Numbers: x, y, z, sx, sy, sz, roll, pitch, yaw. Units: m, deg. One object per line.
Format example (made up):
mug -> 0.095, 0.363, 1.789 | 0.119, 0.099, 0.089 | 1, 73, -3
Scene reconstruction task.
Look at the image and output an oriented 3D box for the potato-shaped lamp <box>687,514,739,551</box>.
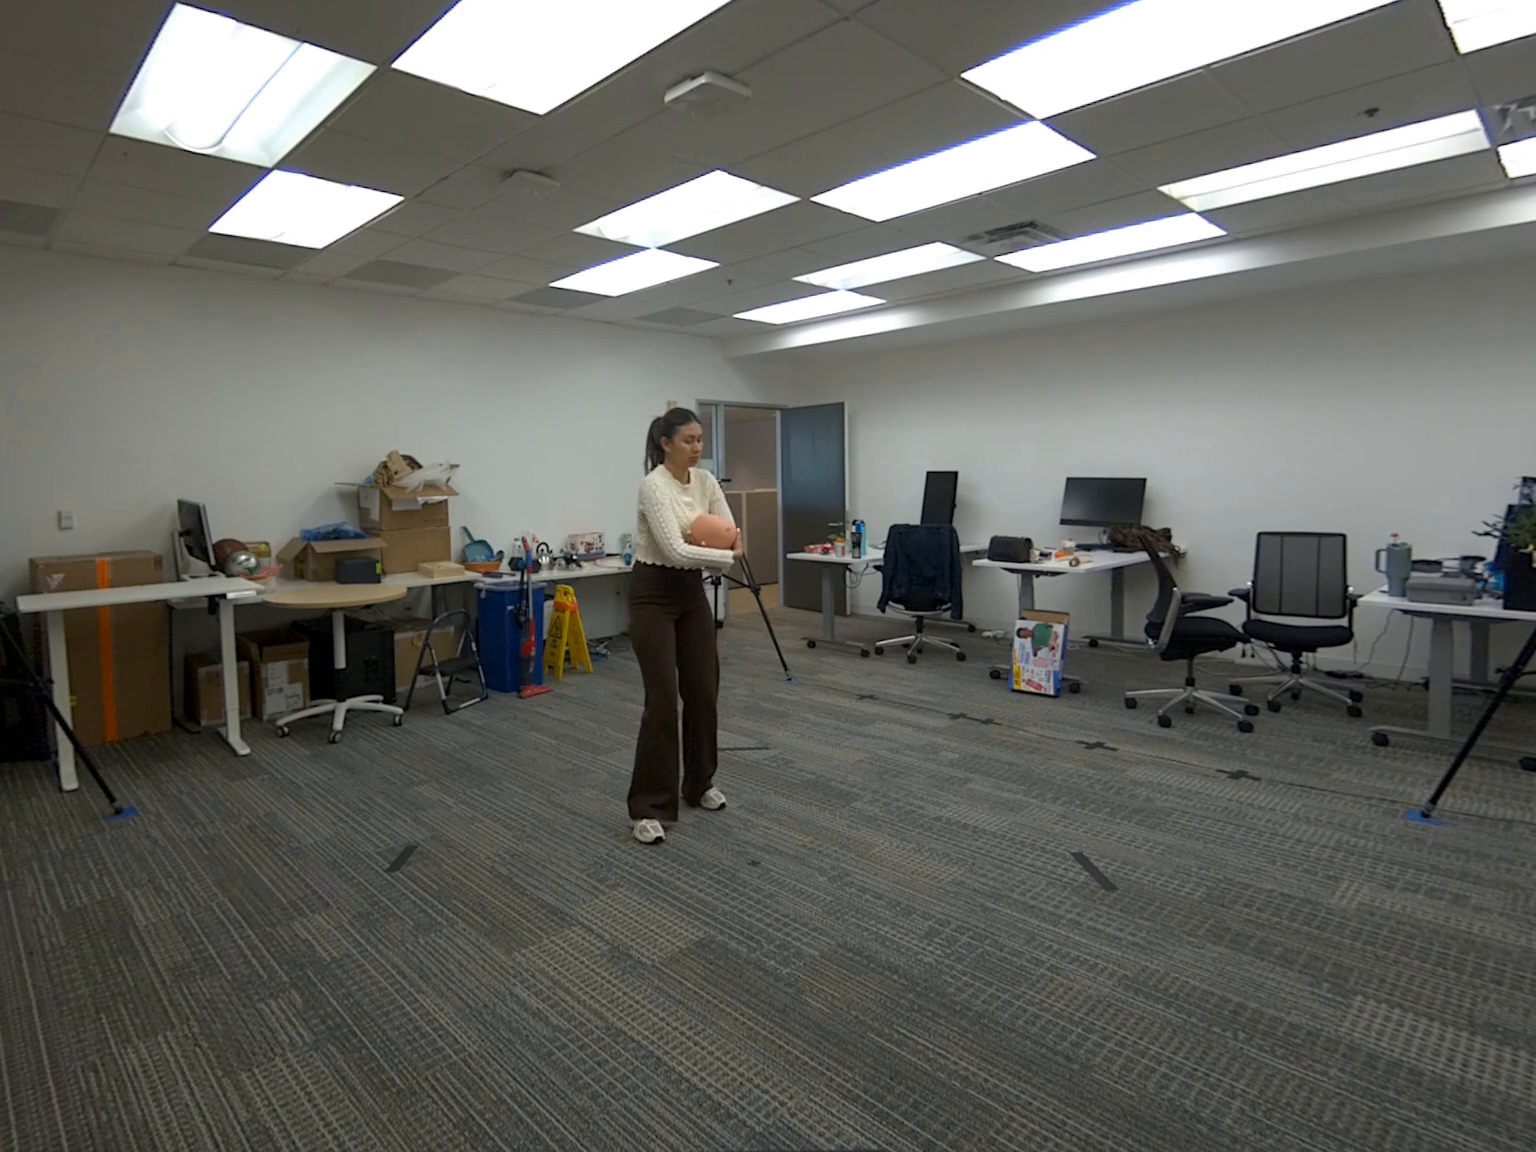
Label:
potato-shaped lamp -> -0.237, -0.175, 3.429 | 0.170, 0.172, 0.191 | 26, -11, 31
